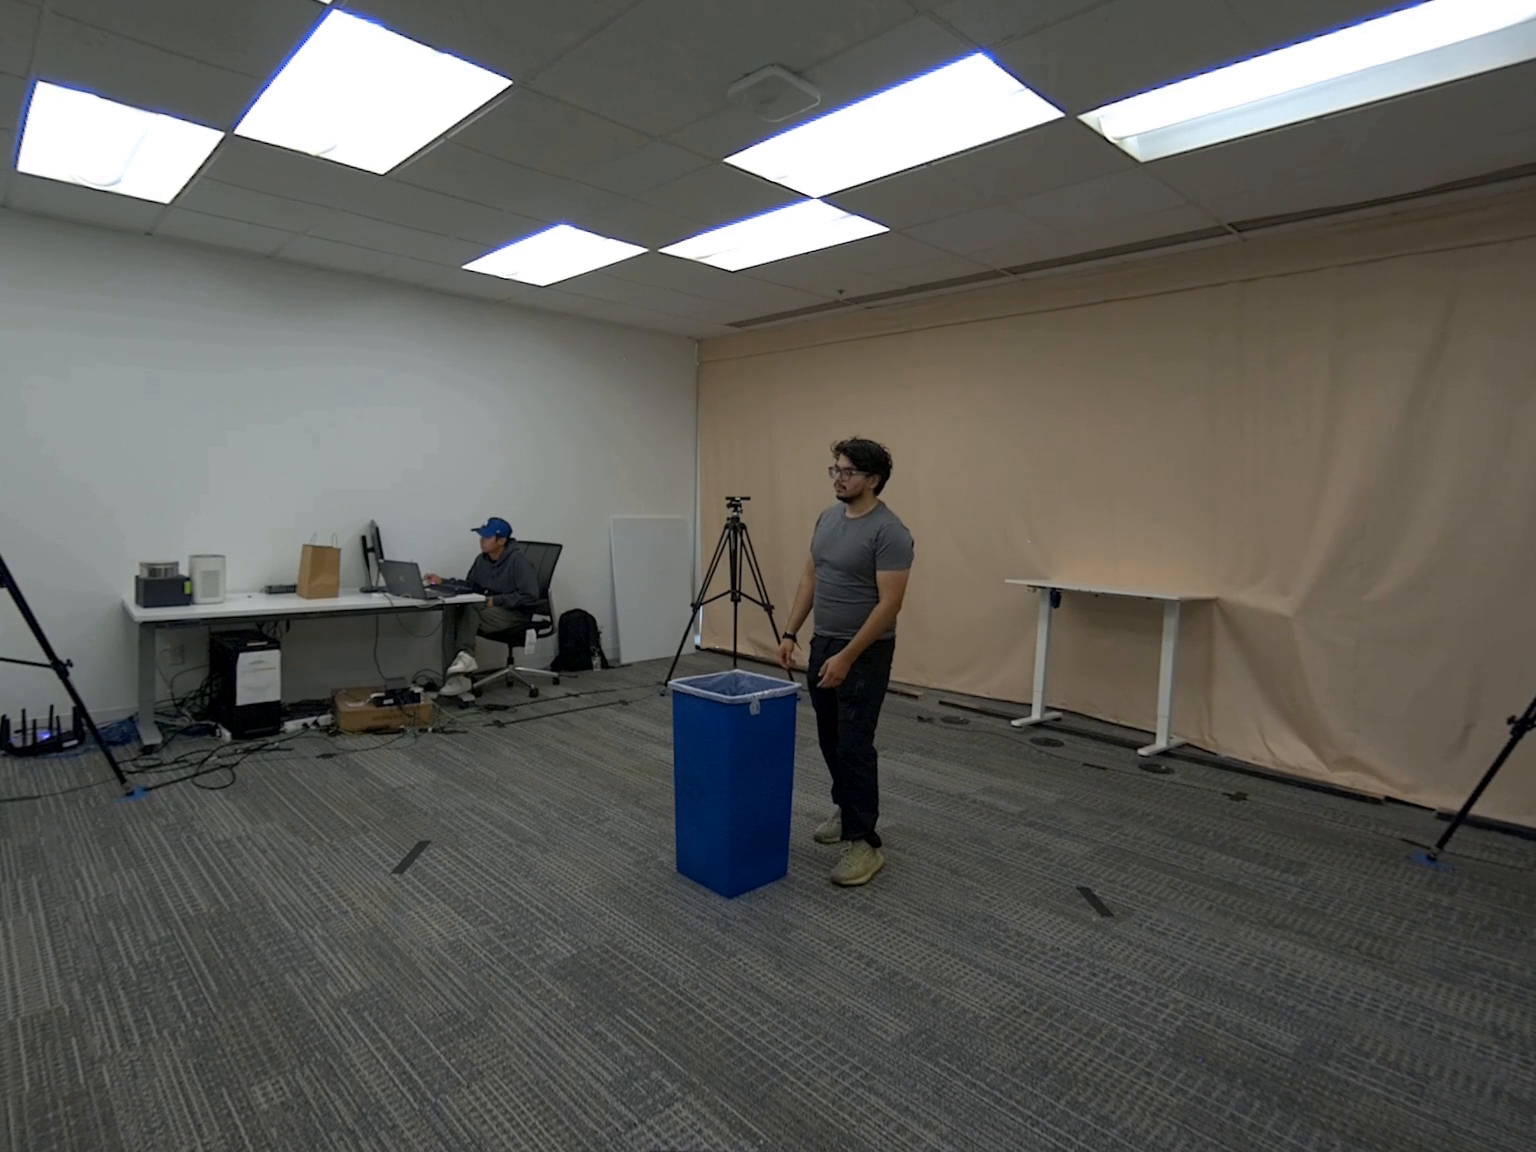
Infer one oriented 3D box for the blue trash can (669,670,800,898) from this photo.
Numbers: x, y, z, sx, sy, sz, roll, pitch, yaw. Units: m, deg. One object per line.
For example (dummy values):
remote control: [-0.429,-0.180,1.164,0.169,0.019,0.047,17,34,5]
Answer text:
blue trash can: [-0.137,0.750,3.103,0.365,0.712,0.387,0,3,-45]
